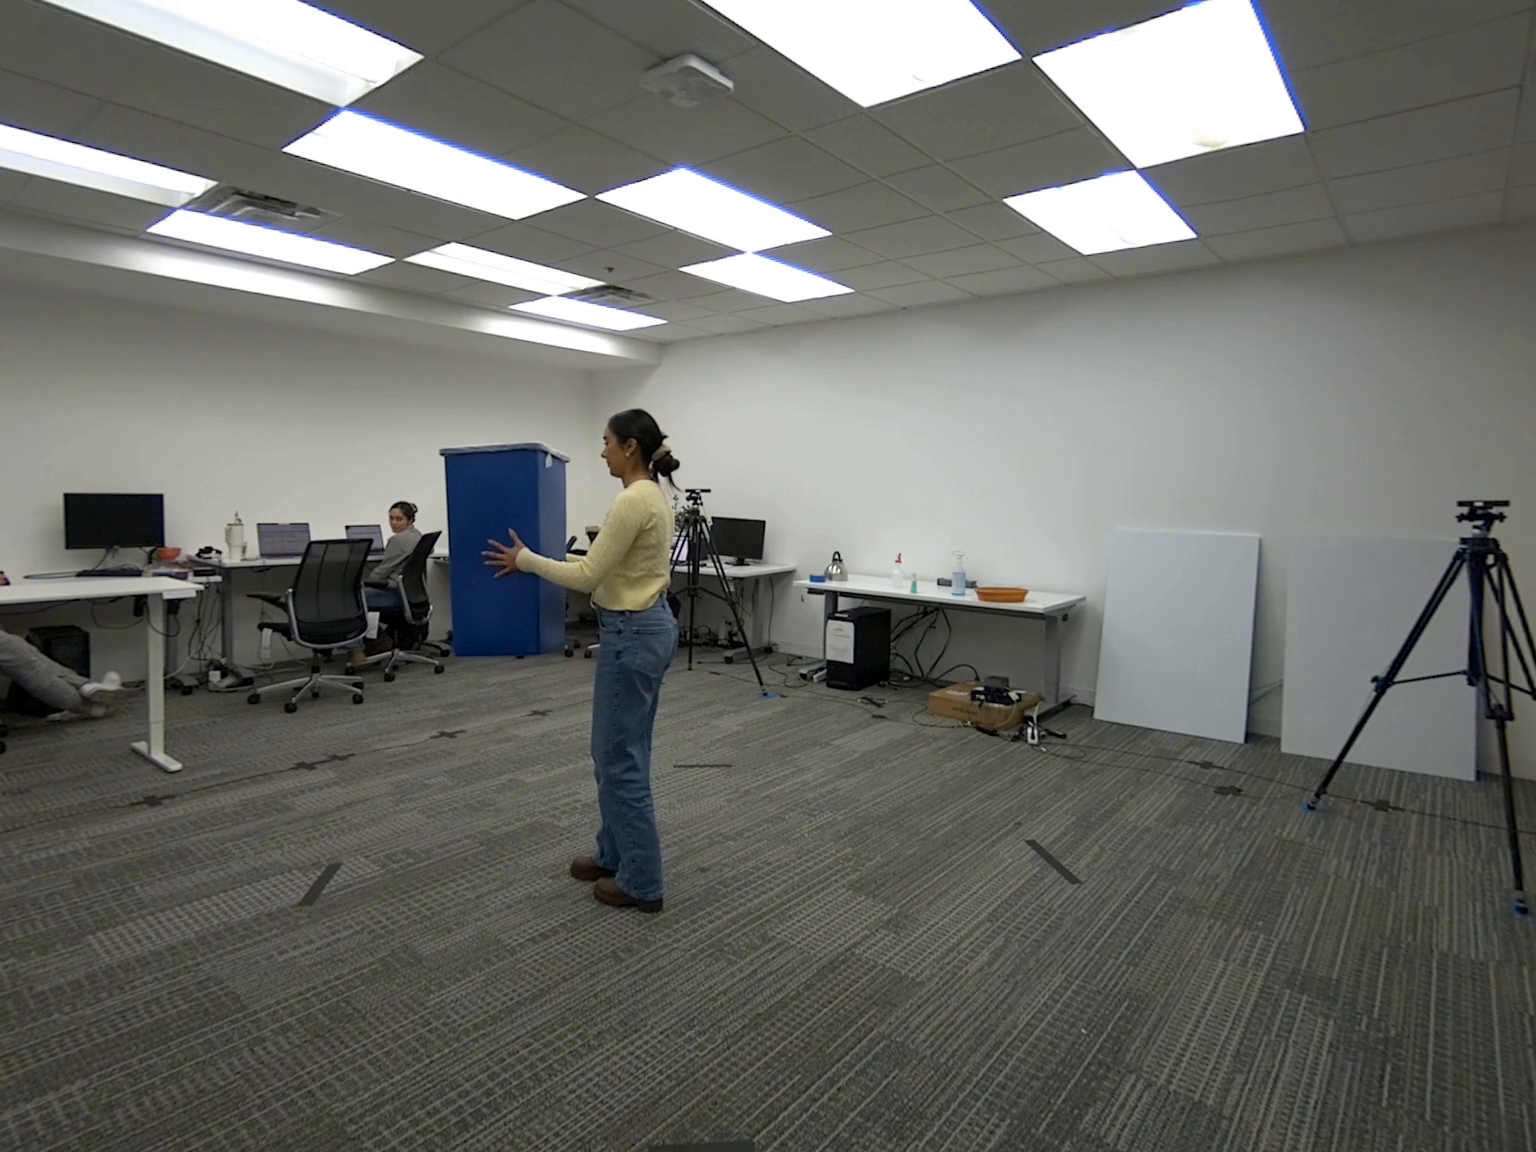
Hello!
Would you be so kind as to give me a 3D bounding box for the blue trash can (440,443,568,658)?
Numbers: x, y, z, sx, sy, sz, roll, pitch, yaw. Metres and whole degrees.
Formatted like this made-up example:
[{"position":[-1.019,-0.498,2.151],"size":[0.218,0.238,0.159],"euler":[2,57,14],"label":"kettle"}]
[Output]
[{"position":[-0.939,-0.091,3.022],"size":[0.377,0.716,0.374],"euler":[-2,-3,5],"label":"blue trash can"}]
